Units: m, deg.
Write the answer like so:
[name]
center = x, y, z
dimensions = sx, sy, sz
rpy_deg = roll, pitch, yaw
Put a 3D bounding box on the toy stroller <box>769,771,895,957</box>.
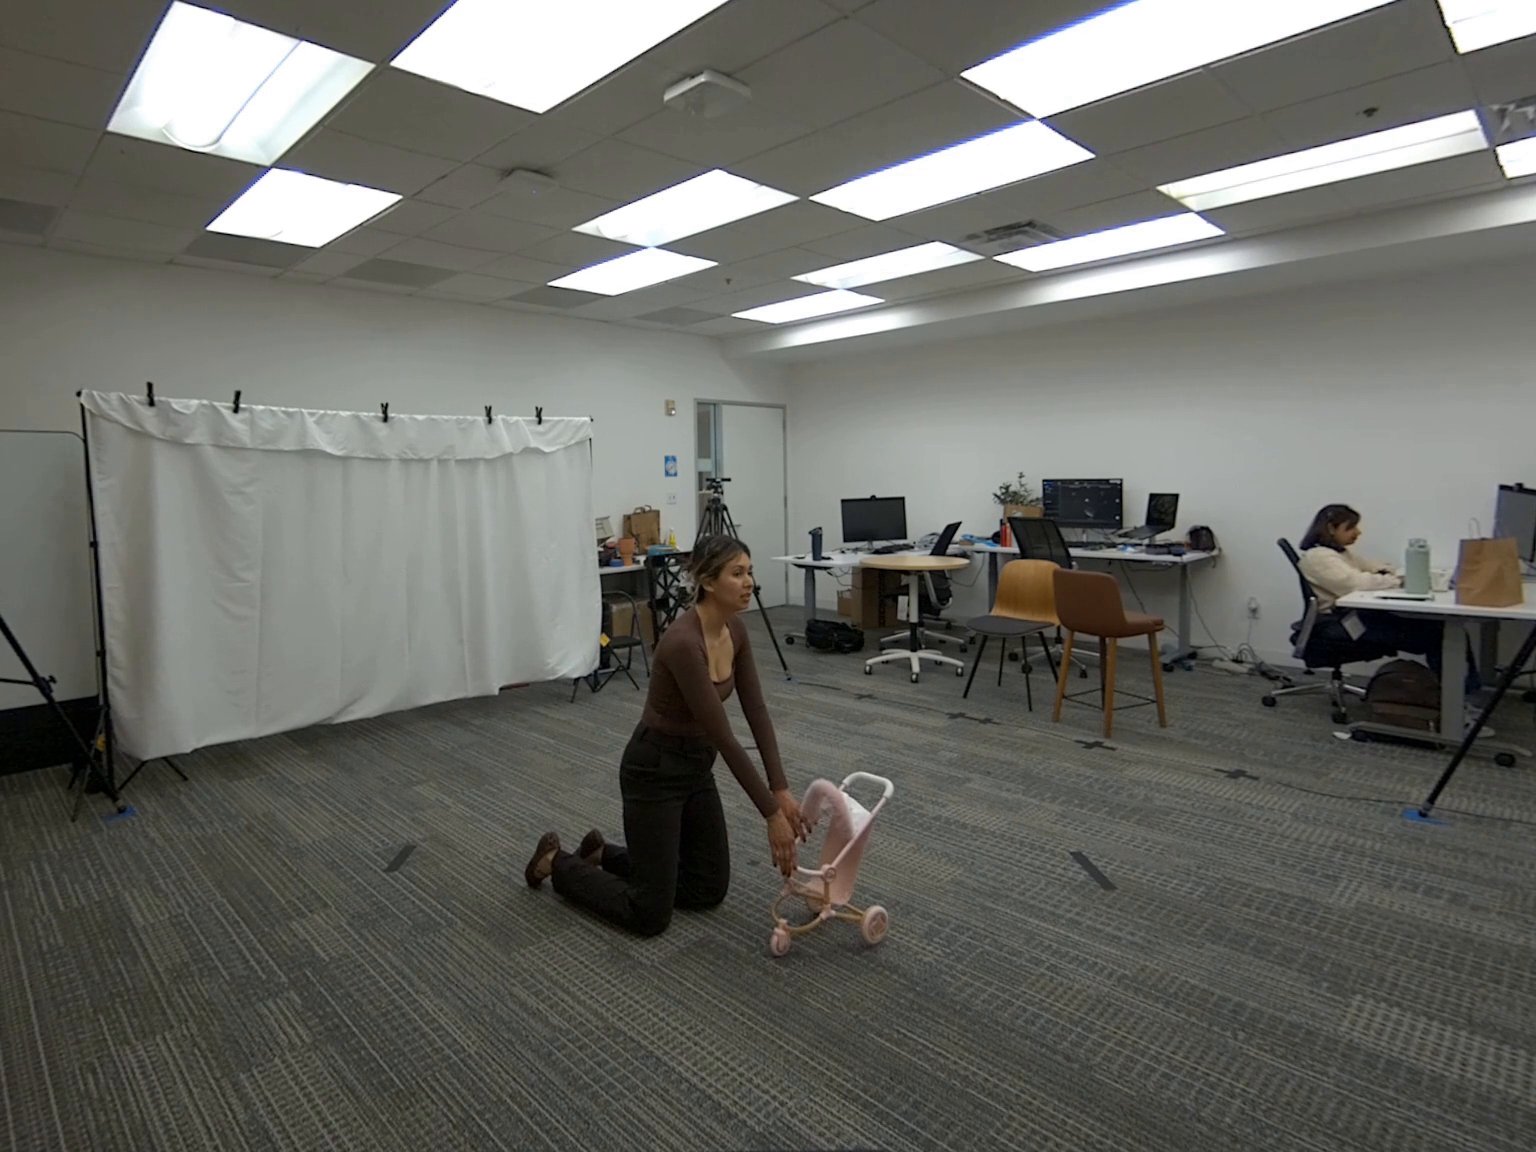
[toy stroller]
center = 0.175, 0.864, 2.602
dimensions = 0.331, 0.537, 0.289
rpy_deg = 12, -6, -31
